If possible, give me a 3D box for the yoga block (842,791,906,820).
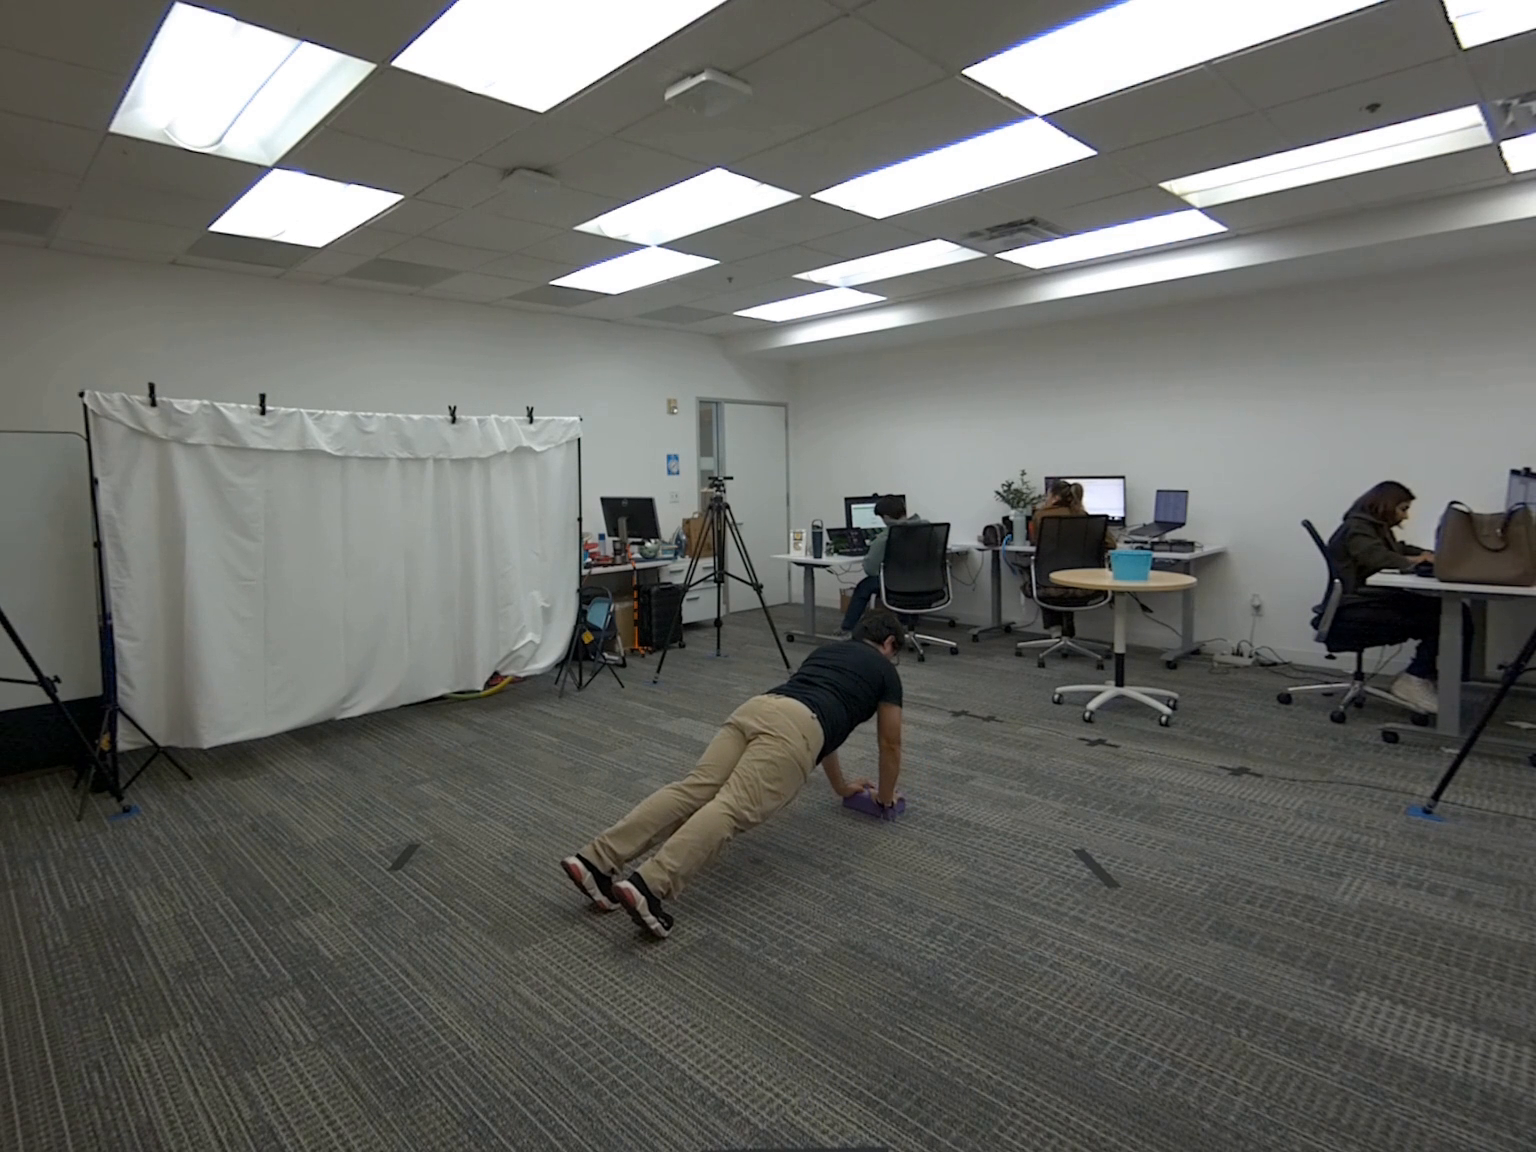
[{"bbox_3d":[0.447,0.937,3.585,0.236,0.076,0.145,6,8,43],"label":"yoga block"}]
